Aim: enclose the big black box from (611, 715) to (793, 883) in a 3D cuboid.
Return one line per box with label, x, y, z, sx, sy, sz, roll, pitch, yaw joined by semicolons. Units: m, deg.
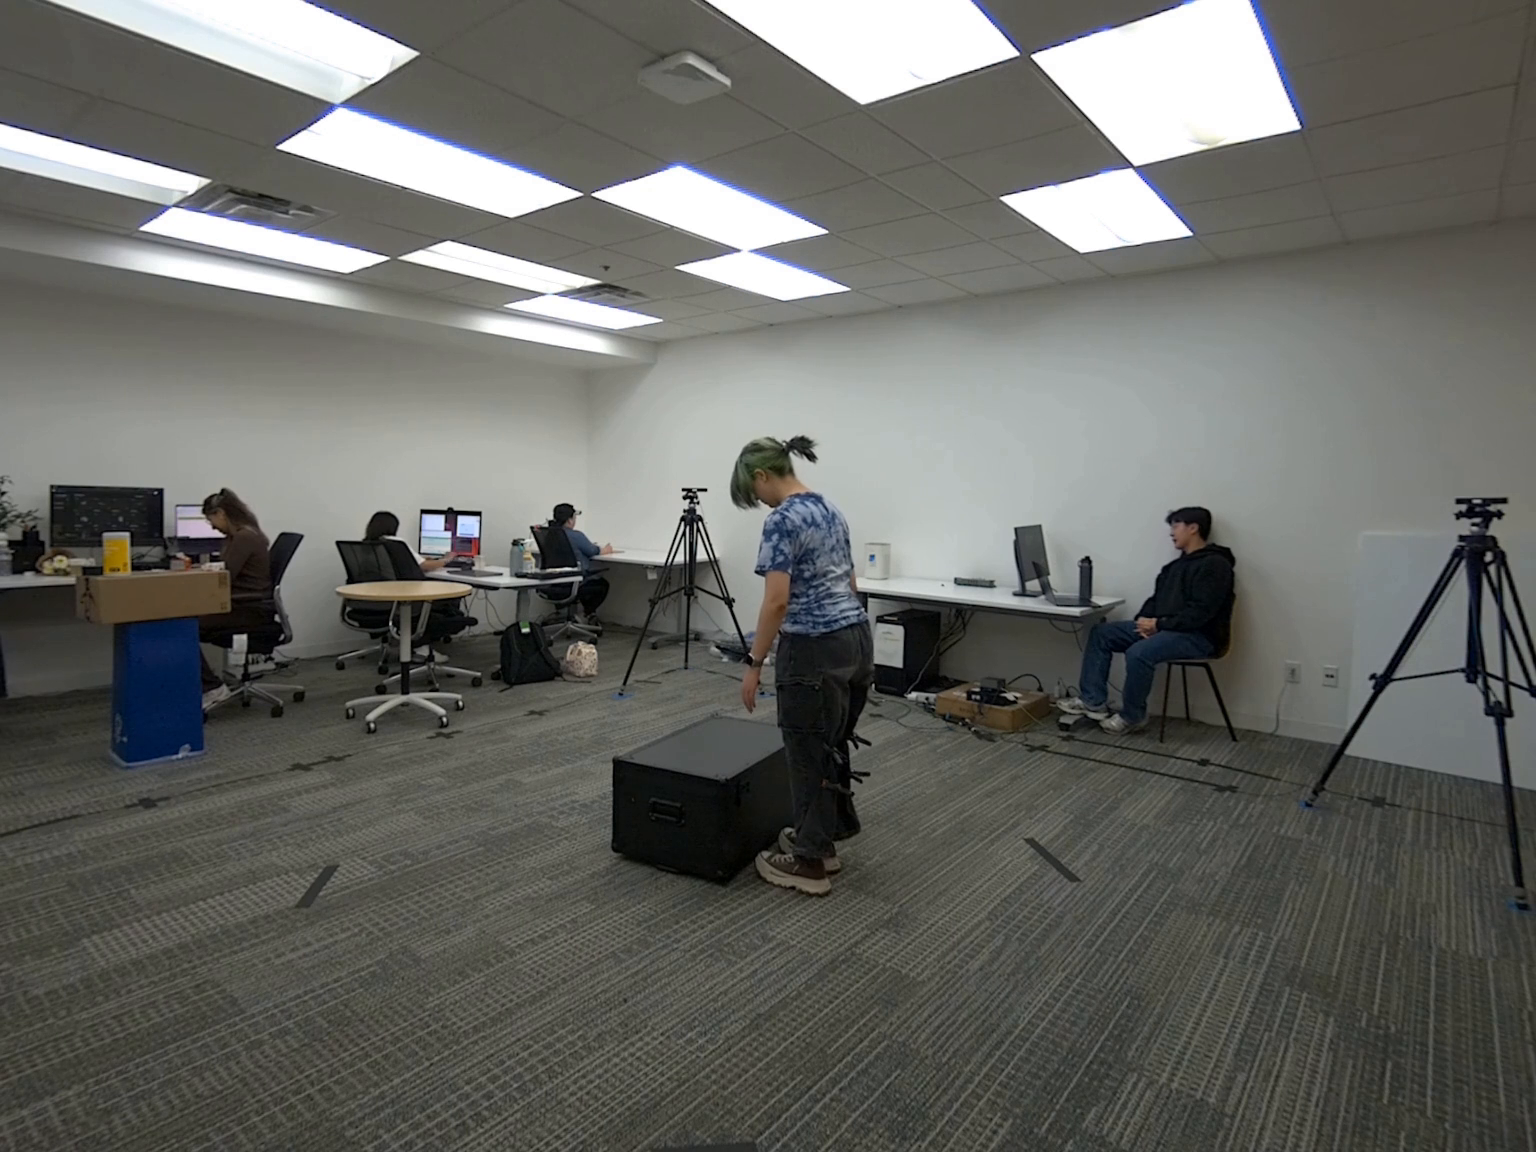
big black box;-0.195;0.847;3.433;0.535;0.395;0.842;3;6;26
